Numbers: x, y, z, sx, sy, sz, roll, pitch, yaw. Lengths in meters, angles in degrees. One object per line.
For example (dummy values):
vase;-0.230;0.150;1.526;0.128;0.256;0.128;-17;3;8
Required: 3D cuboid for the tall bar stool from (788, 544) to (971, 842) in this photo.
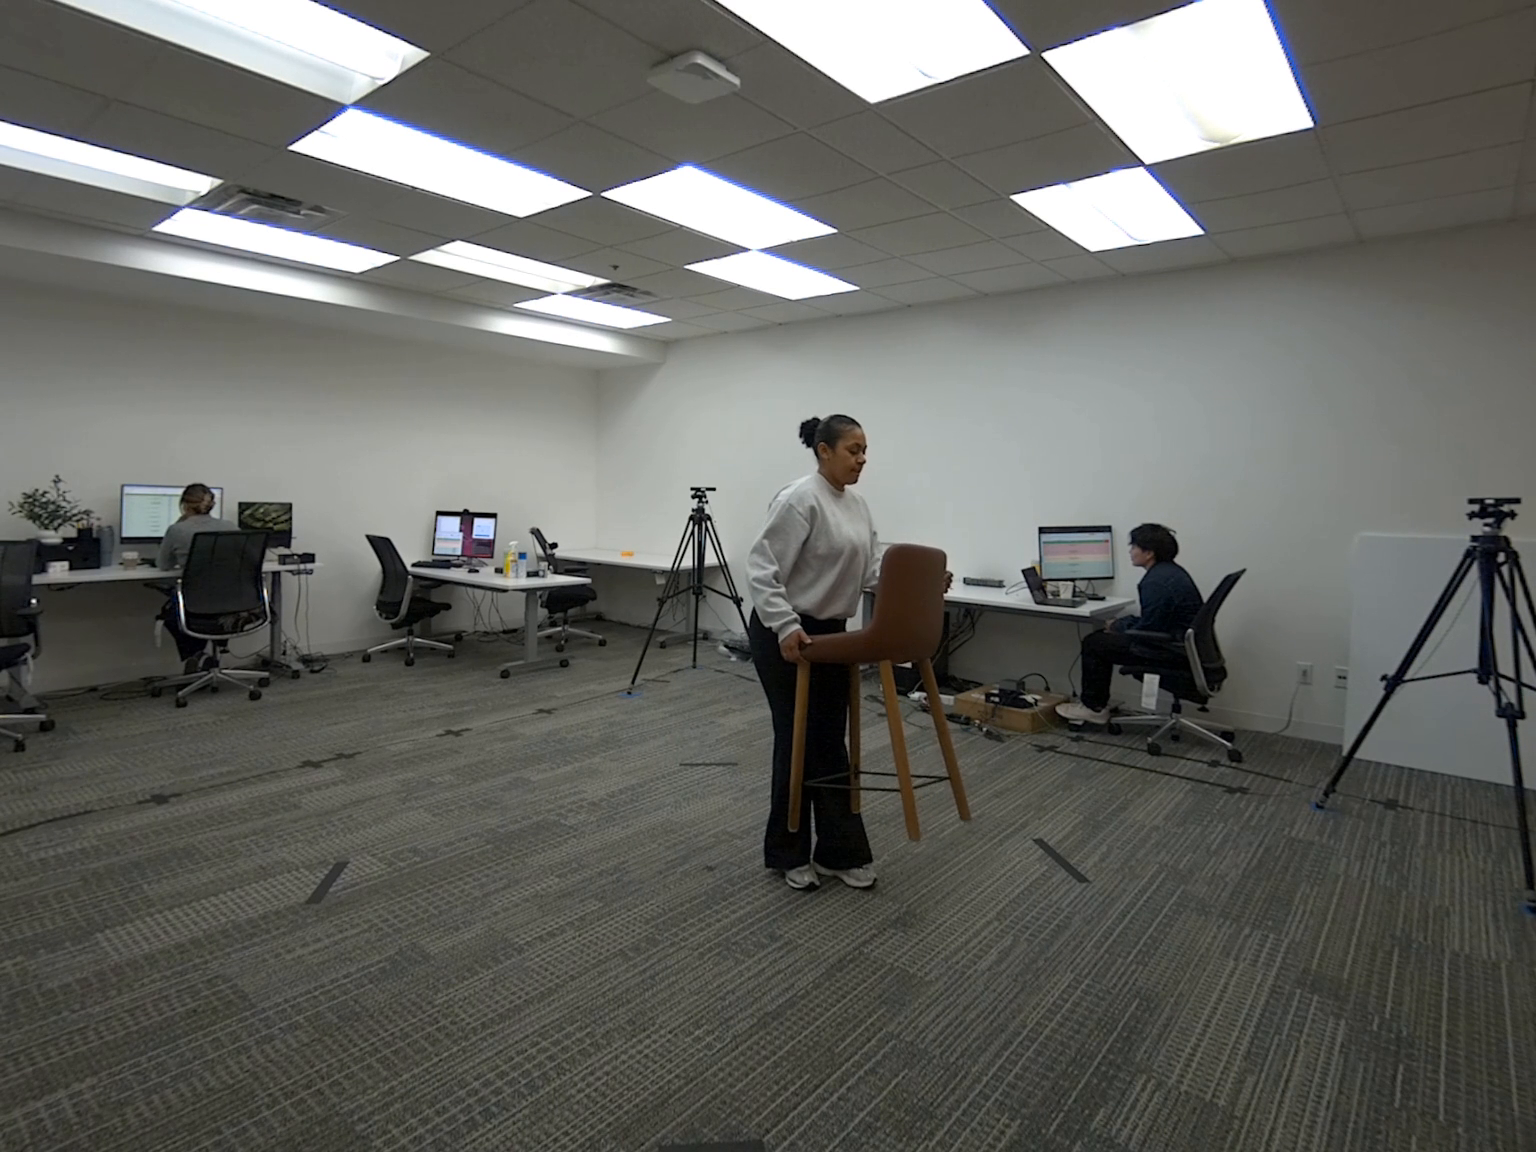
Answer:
tall bar stool;0.340;0.369;2.792;0.480;0.897;0.441;-8;-9;37
